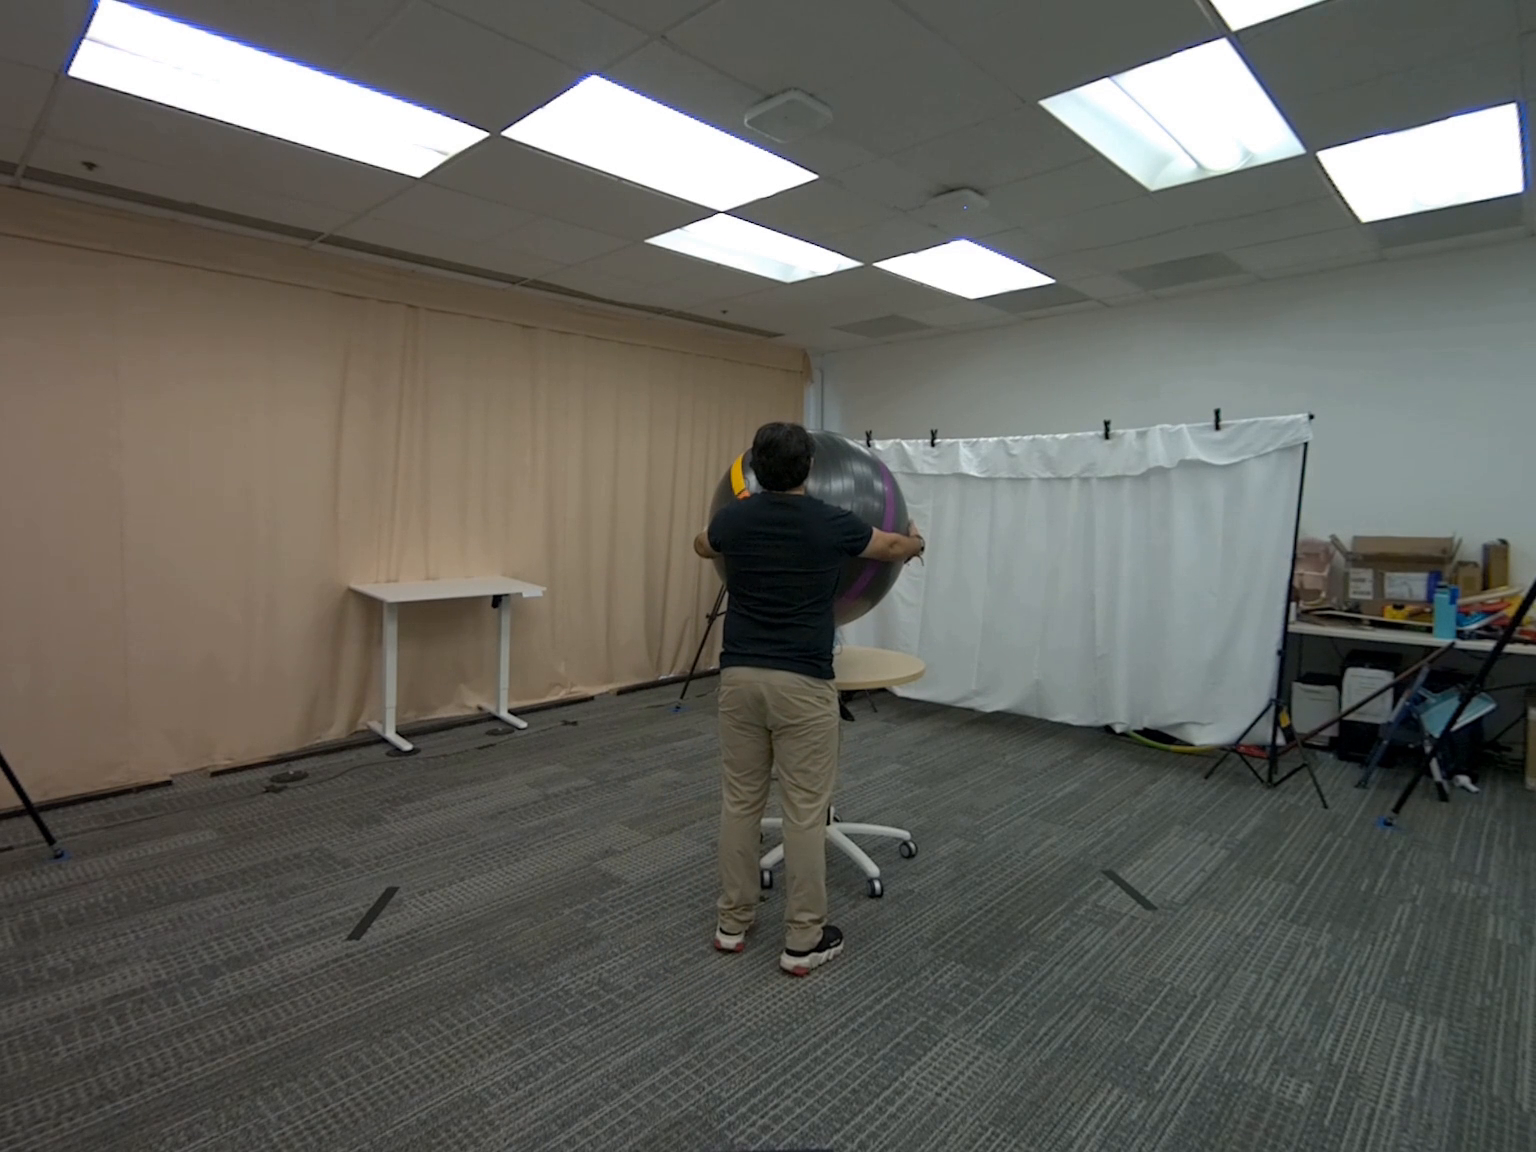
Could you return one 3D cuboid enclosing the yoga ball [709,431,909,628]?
[{"bbox_3d":[0.150,-0.168,3.186,0.757,0.756,0.760,0,4,-2],"label":"yoga ball"}]
